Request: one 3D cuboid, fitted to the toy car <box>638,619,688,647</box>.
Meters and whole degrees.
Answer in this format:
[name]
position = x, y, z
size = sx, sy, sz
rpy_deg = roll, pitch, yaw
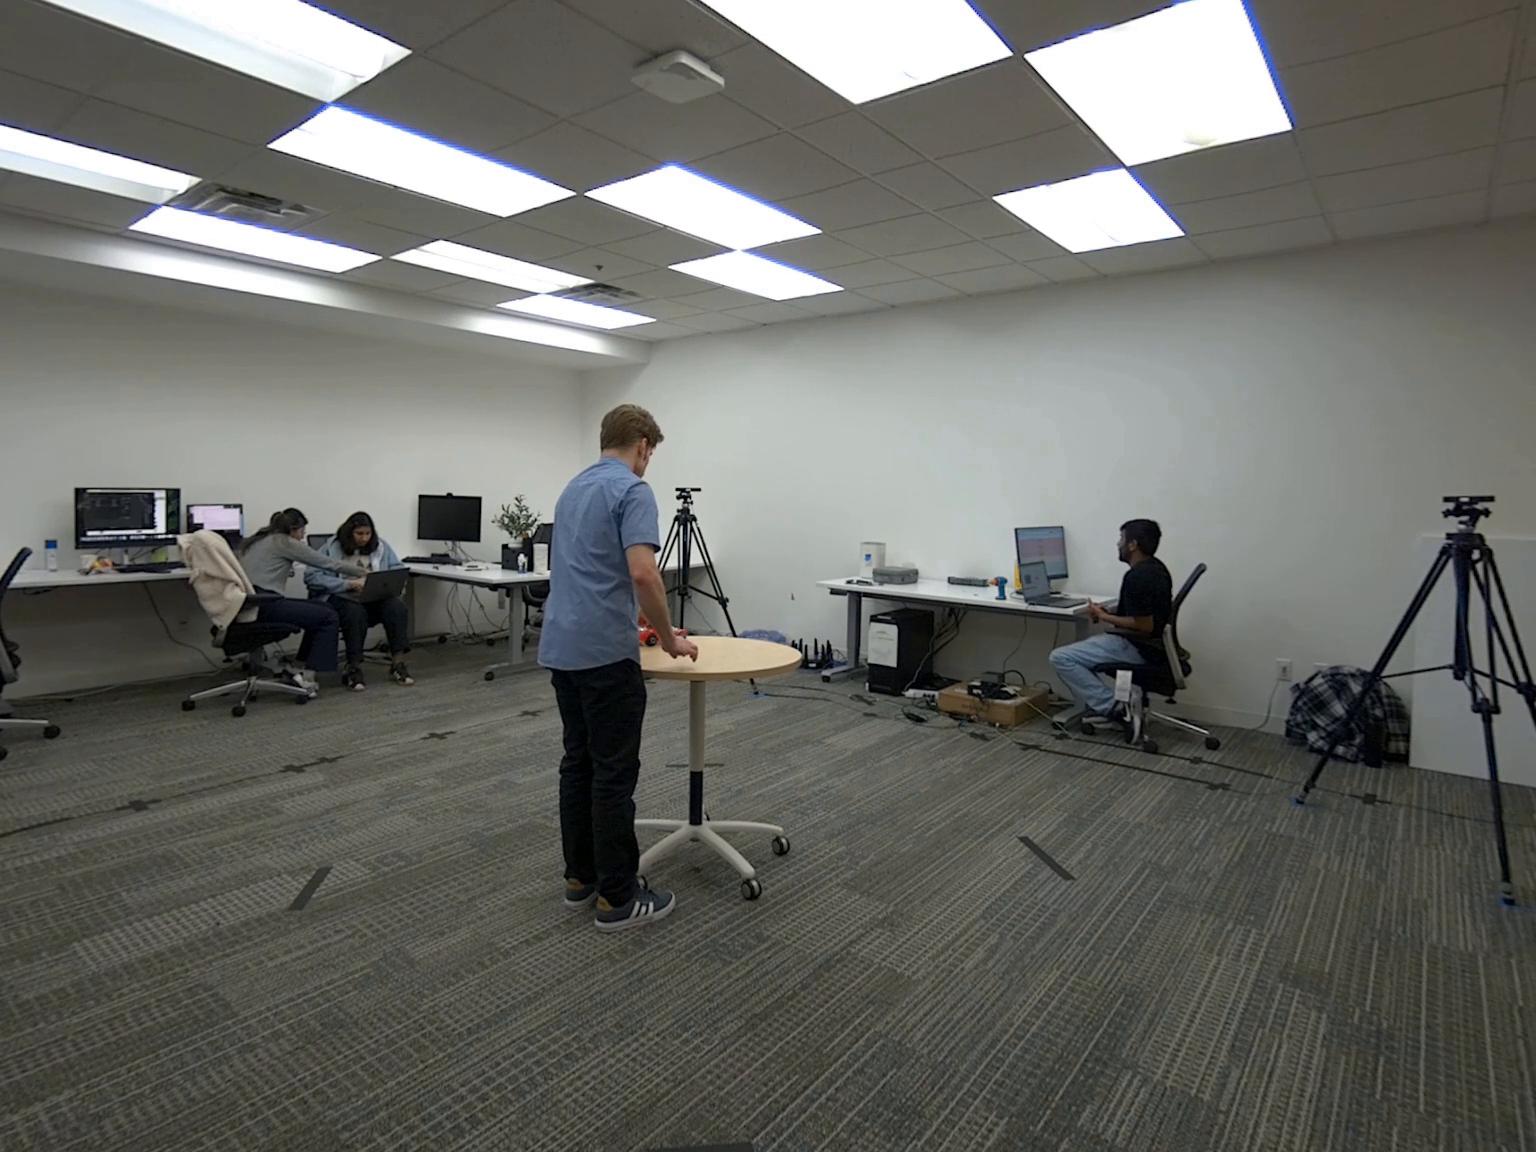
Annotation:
[toy car]
position = -0.451, 0.232, 3.317
size = 0.245, 0.083, 0.134
rpy_deg = 10, -4, -38
